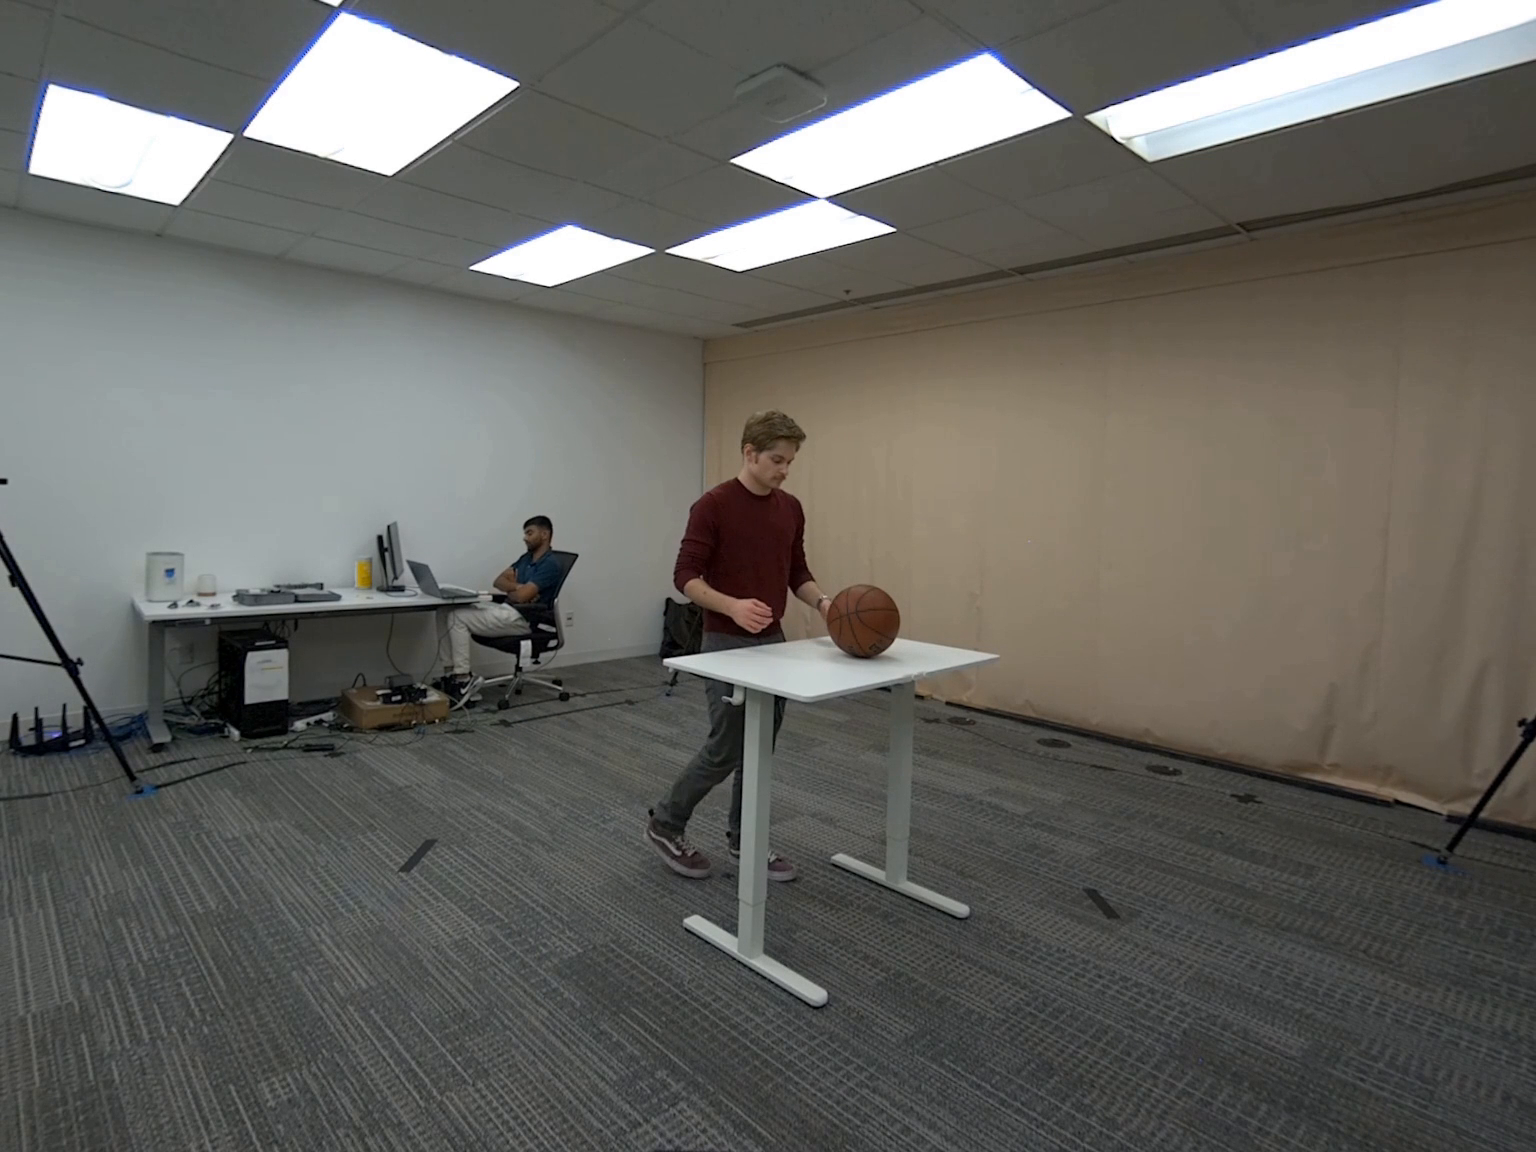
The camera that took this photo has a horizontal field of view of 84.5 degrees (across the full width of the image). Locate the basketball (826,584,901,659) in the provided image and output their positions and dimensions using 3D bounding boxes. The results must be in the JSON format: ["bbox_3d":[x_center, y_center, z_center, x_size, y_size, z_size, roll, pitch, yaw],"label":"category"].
[{"bbox_3d":[0.299,0.143,2.763,0.236,0.235,0.237,1,4,-1],"label":"basketball"}]
